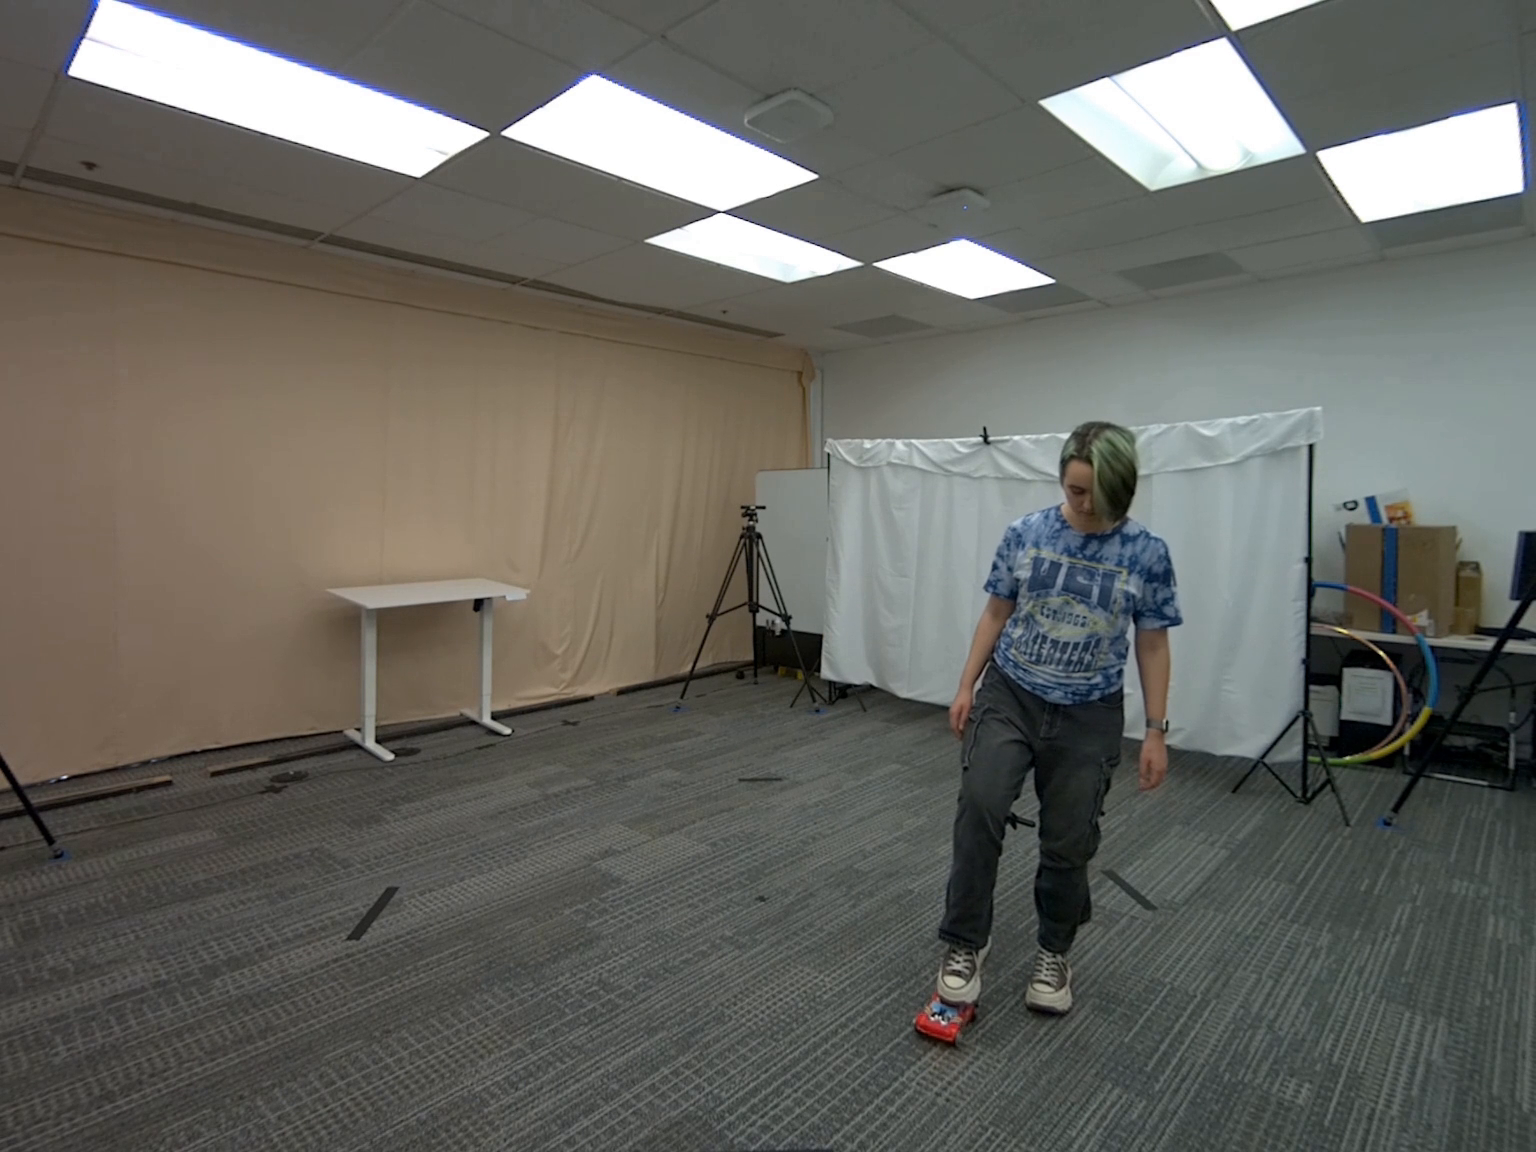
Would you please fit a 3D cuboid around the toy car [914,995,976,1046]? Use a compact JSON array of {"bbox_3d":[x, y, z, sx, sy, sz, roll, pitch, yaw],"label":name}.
[{"bbox_3d":[0.499,1.176,2.260,0.134,0.083,0.249,2,12,32],"label":"toy car"}]
